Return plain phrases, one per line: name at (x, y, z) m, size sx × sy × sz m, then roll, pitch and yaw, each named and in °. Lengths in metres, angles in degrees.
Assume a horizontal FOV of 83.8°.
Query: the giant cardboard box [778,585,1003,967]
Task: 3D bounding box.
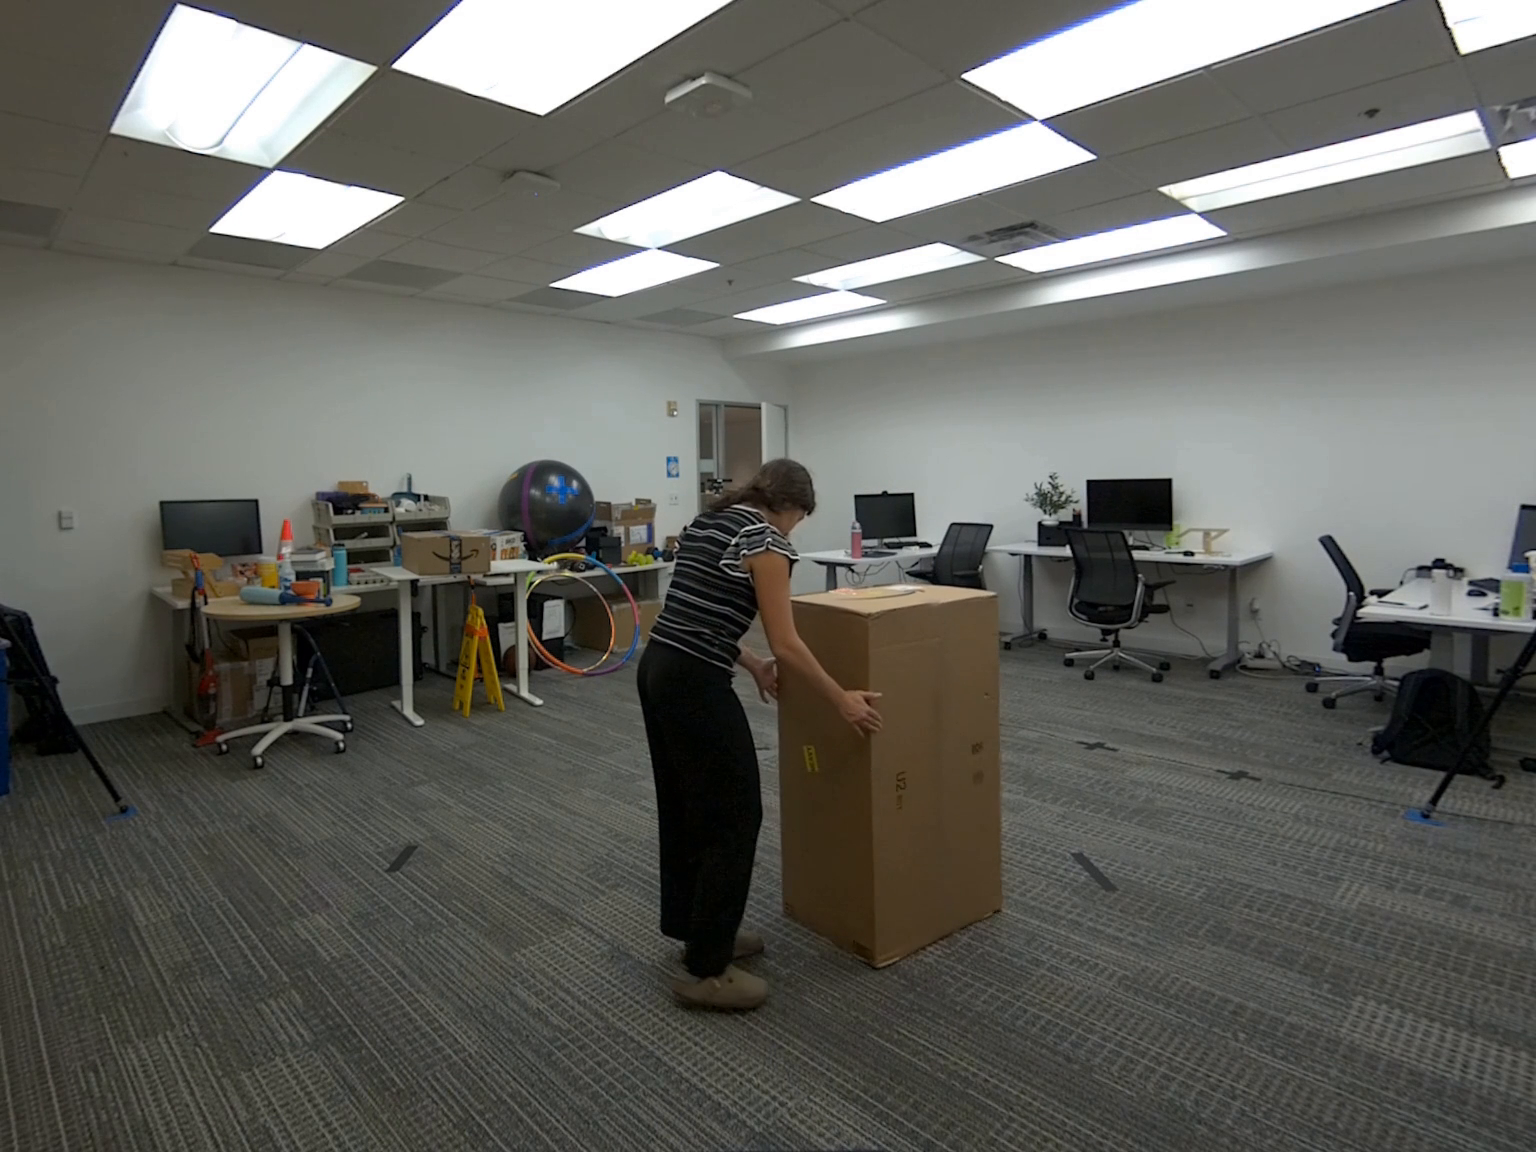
giant cardboard box at (0.389, 0.572, 2.727) m, size 0.563 × 1.022 × 0.439 m, roll -5°, pitch 5°, yaw -37°
